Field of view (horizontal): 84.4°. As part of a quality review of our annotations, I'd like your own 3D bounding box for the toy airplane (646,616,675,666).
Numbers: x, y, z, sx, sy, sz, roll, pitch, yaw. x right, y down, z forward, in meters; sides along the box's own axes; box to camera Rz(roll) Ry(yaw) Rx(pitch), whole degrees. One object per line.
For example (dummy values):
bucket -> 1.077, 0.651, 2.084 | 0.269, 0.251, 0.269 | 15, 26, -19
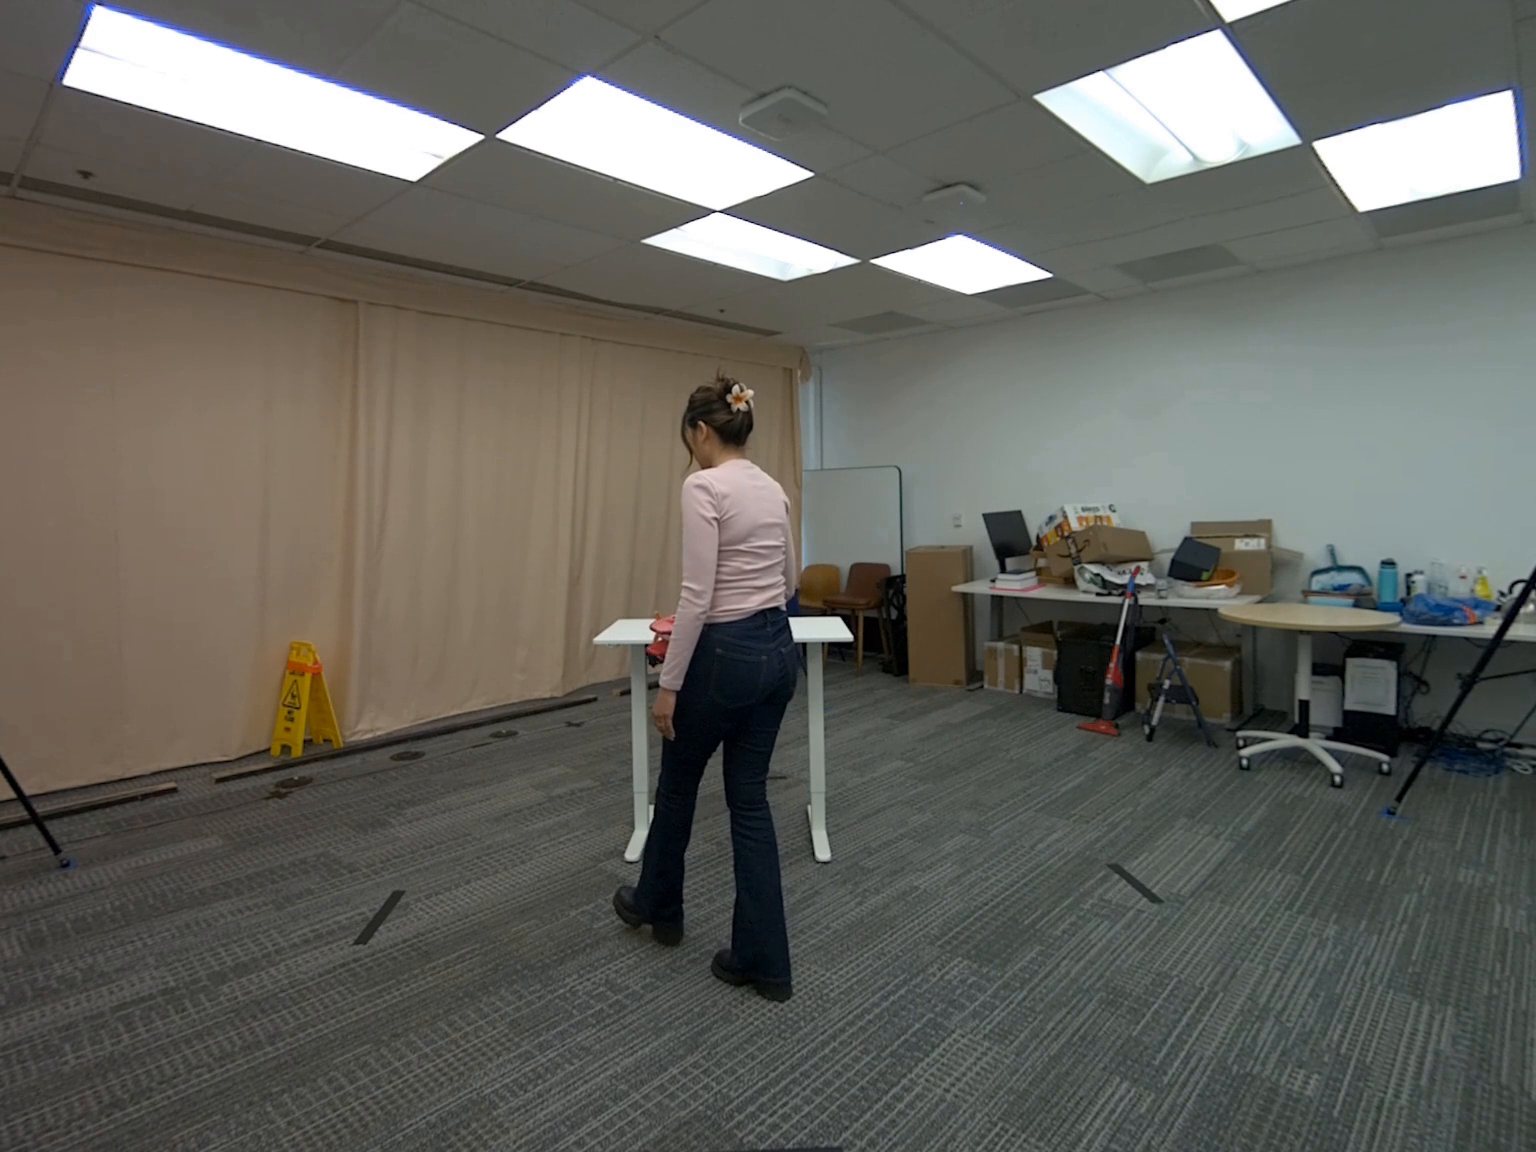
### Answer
toy airplane -> -0.254, 0.212, 2.784 | 0.262, 0.156, 0.249 | -1, 7, 11
